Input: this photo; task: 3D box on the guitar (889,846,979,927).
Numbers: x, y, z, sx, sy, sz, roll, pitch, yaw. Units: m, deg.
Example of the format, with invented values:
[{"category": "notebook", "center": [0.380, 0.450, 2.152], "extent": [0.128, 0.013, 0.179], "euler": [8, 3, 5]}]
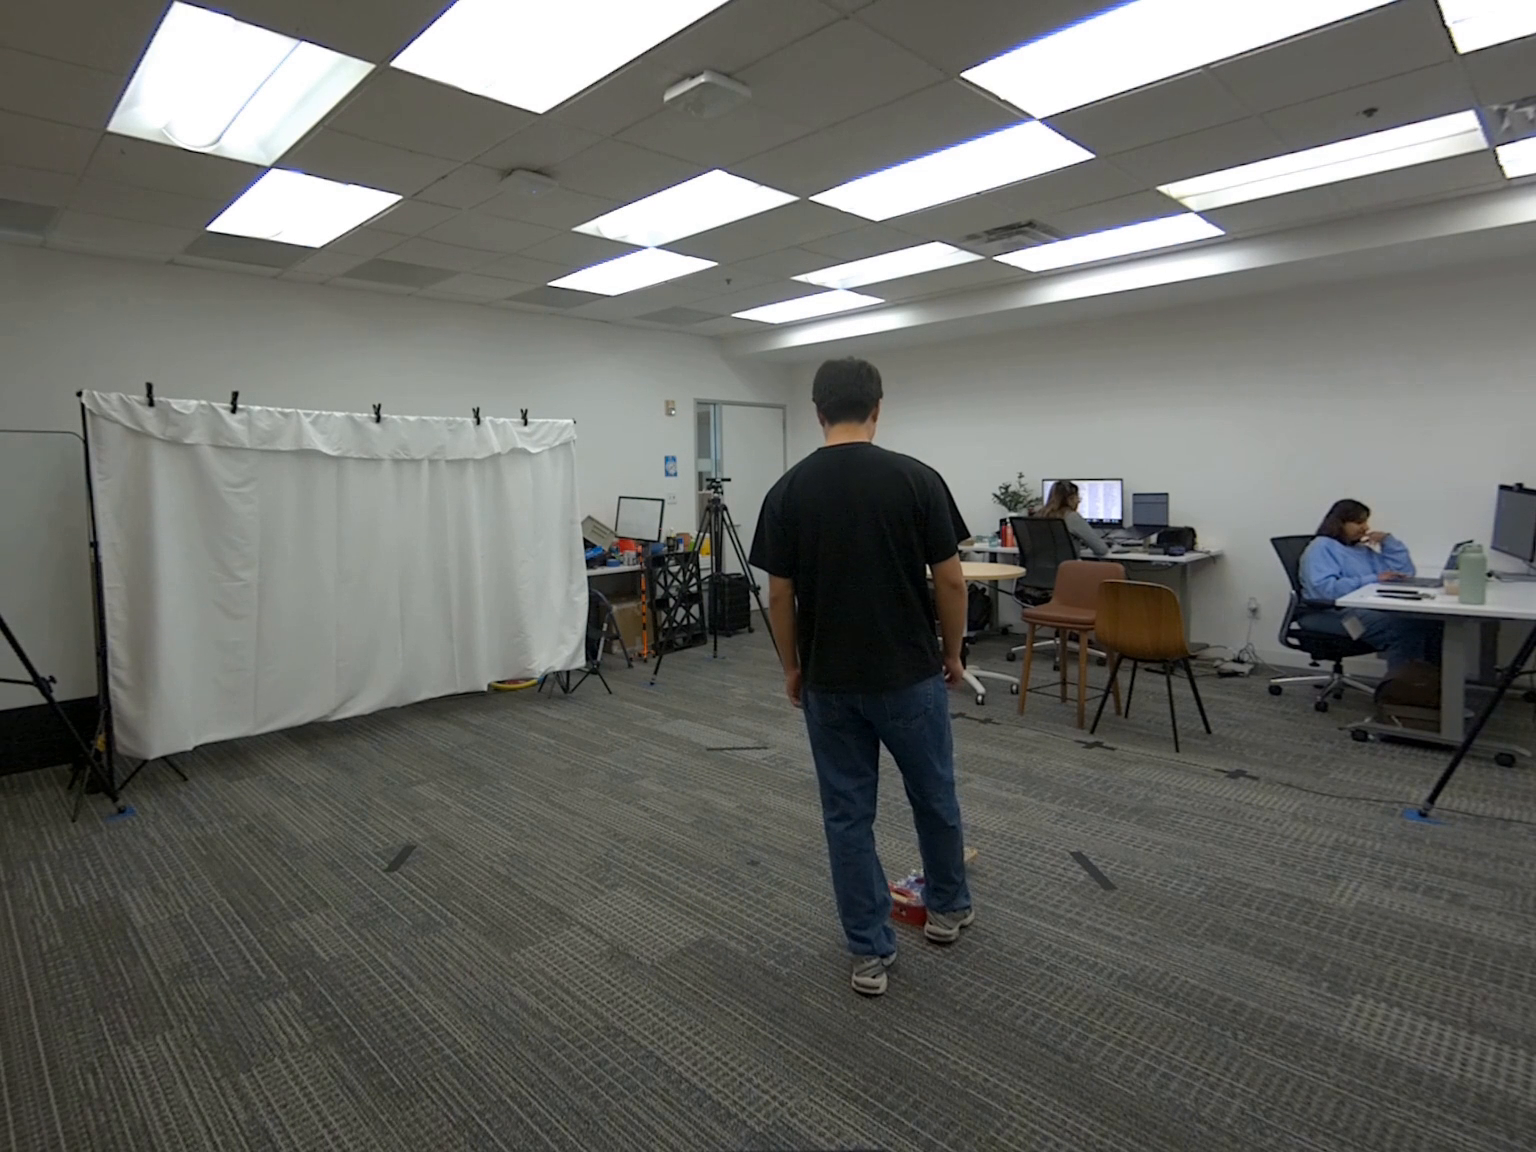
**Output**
[{"category": "guitar", "center": [0.585, 1.028, 2.846], "extent": [0.485, 0.070, 0.199], "euler": [-7, 7, -36]}]
